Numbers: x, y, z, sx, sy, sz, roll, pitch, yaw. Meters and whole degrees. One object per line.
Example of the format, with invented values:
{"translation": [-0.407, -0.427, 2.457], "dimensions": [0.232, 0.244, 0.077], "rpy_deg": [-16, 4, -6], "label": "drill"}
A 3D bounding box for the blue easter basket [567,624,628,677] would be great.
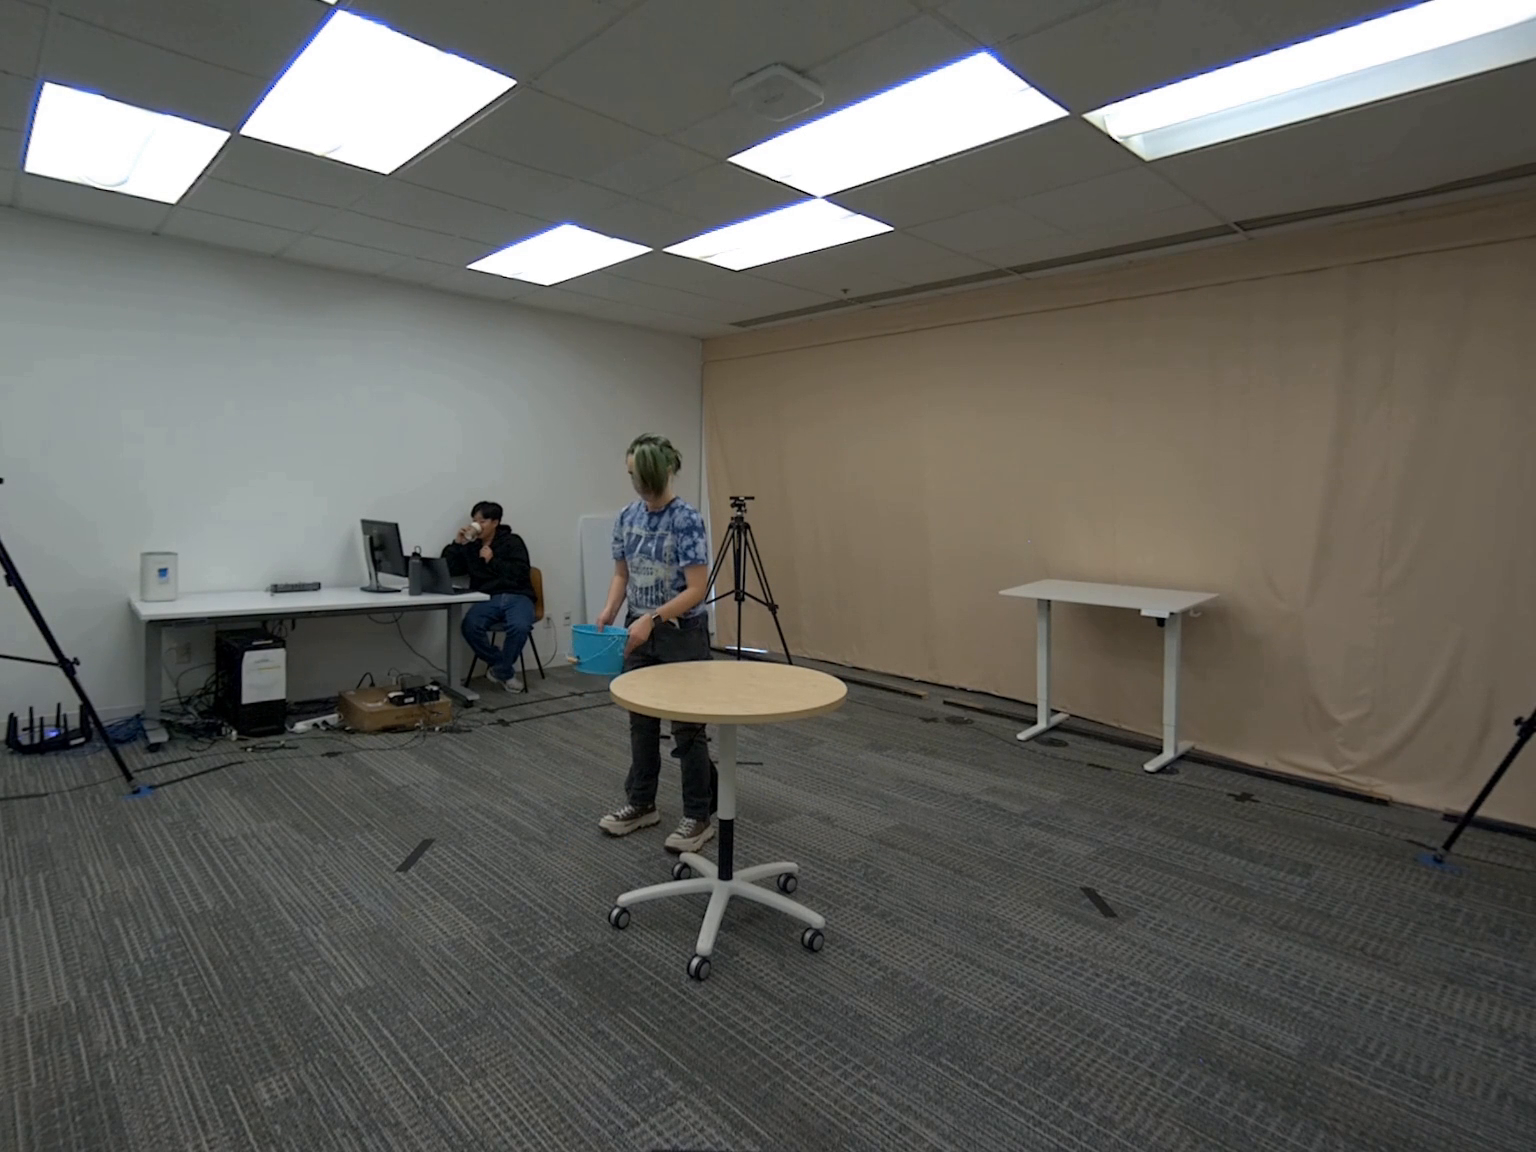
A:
{"translation": [-0.648, 0.277, 3.141], "dimensions": [0.243, 0.156, 0.244], "rpy_deg": [7, 1, -1], "label": "blue easter basket"}
